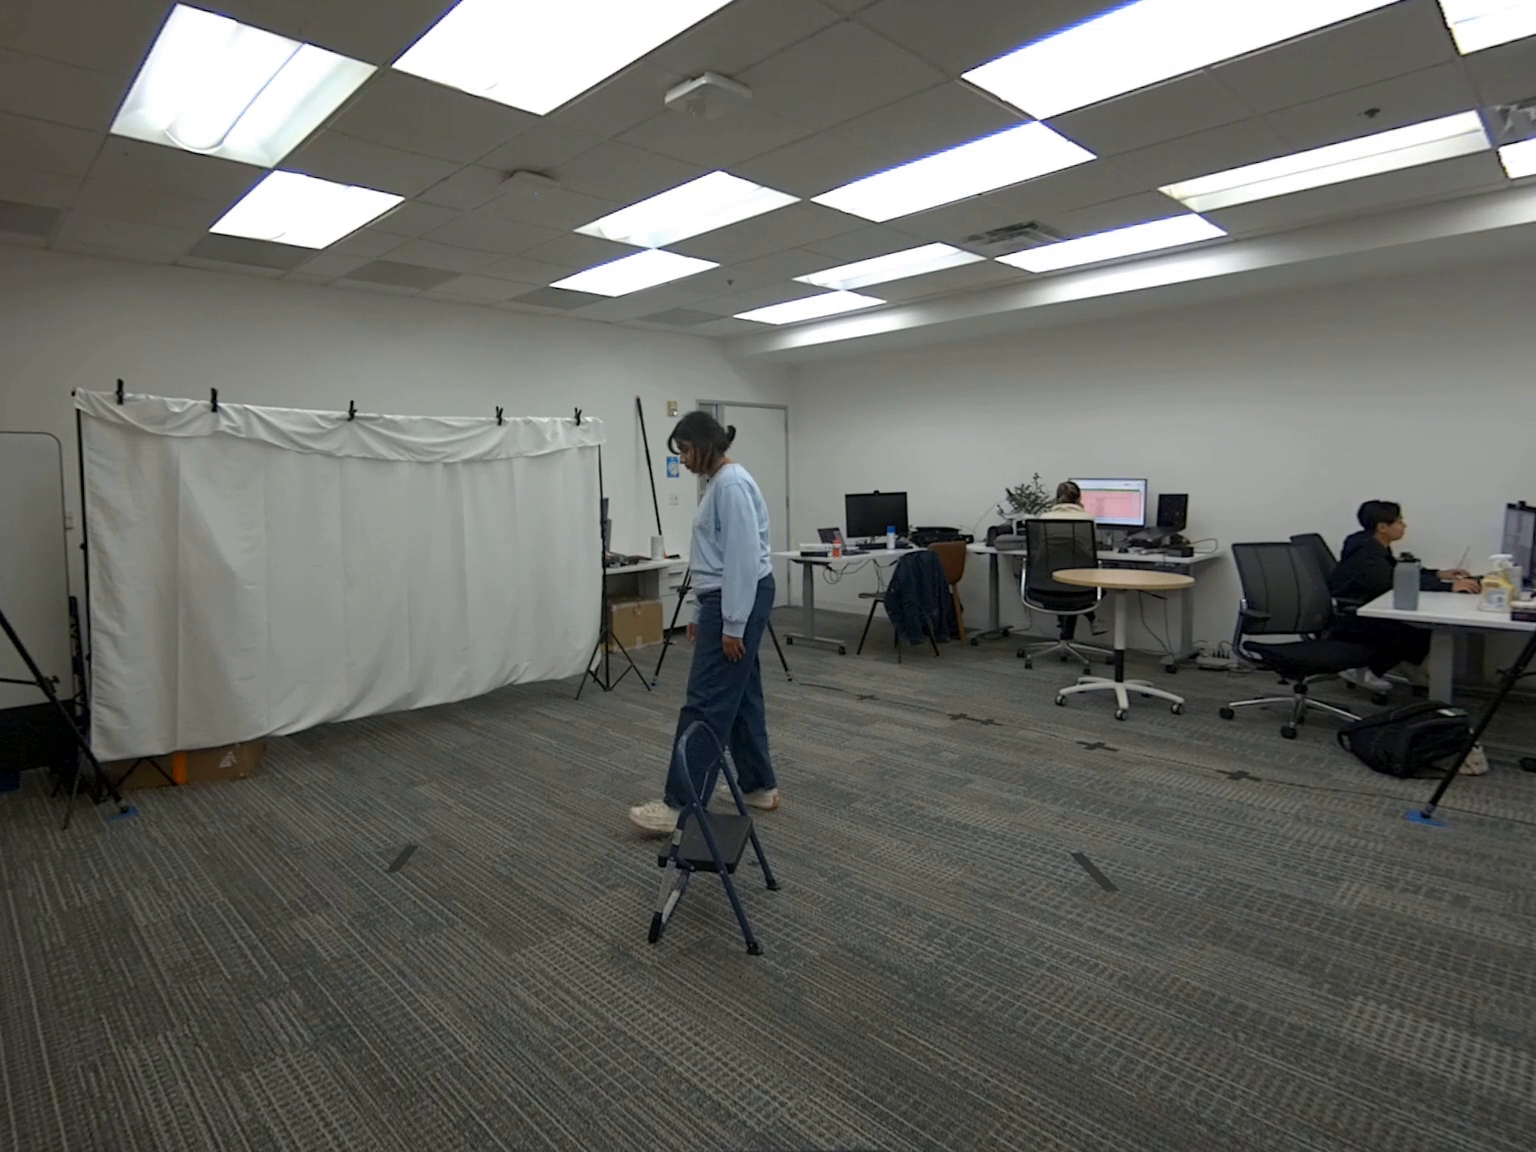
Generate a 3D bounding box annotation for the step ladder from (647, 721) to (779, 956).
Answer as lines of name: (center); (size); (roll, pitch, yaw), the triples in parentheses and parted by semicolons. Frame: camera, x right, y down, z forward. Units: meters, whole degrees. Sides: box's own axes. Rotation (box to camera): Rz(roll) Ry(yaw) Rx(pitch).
step ladder: (-0.172, 0.791, 2.730); (0.353, 0.603, 0.428); (0, 5, 10)
